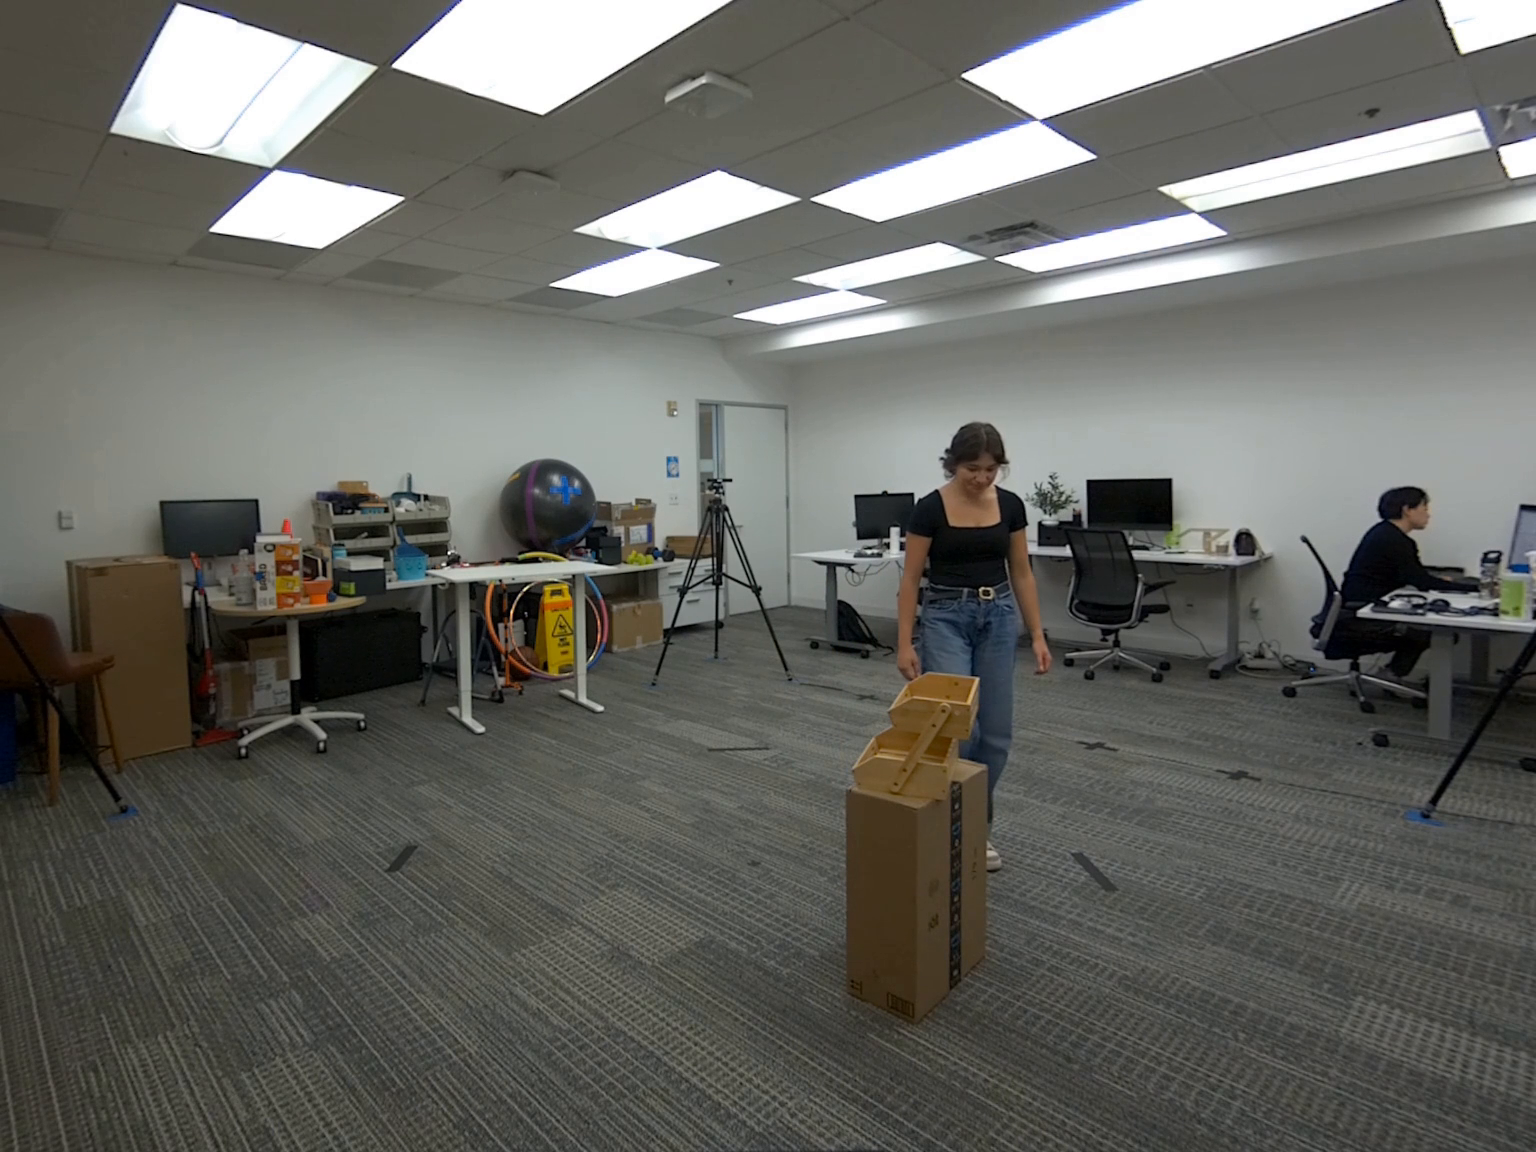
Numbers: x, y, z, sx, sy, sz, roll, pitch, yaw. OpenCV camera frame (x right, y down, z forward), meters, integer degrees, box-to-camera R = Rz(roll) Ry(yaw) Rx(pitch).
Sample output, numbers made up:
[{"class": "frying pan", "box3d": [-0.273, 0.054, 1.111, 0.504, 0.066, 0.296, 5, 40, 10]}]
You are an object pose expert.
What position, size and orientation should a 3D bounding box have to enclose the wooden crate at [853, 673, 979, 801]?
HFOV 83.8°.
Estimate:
[{"class": "wooden crate", "box3d": [0.405, 0.422, 2.369, 0.308, 0.272, 0.320, 3, 6, 19]}]
